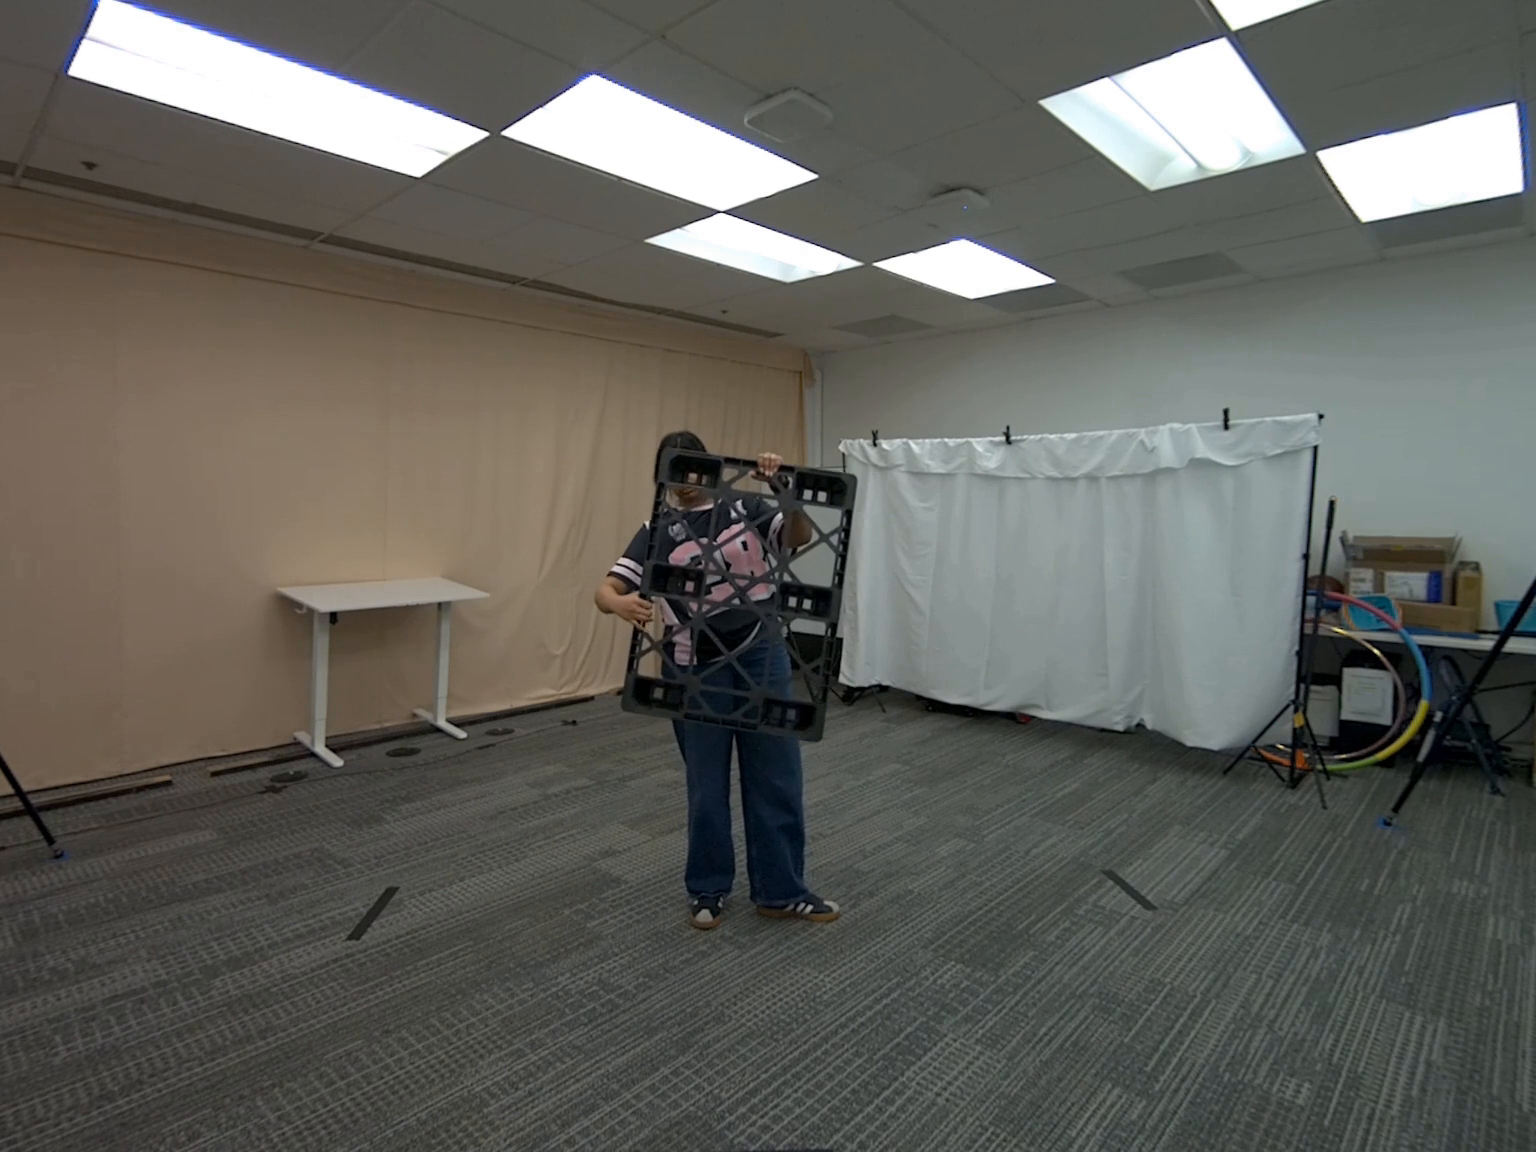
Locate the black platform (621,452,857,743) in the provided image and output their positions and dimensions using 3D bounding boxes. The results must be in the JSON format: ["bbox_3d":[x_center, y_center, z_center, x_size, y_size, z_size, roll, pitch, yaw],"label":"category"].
[{"bbox_3d":[-0.085,0.053,2.560,0.608,0.808,0.142,8,-6,4],"label":"black platform"}]
